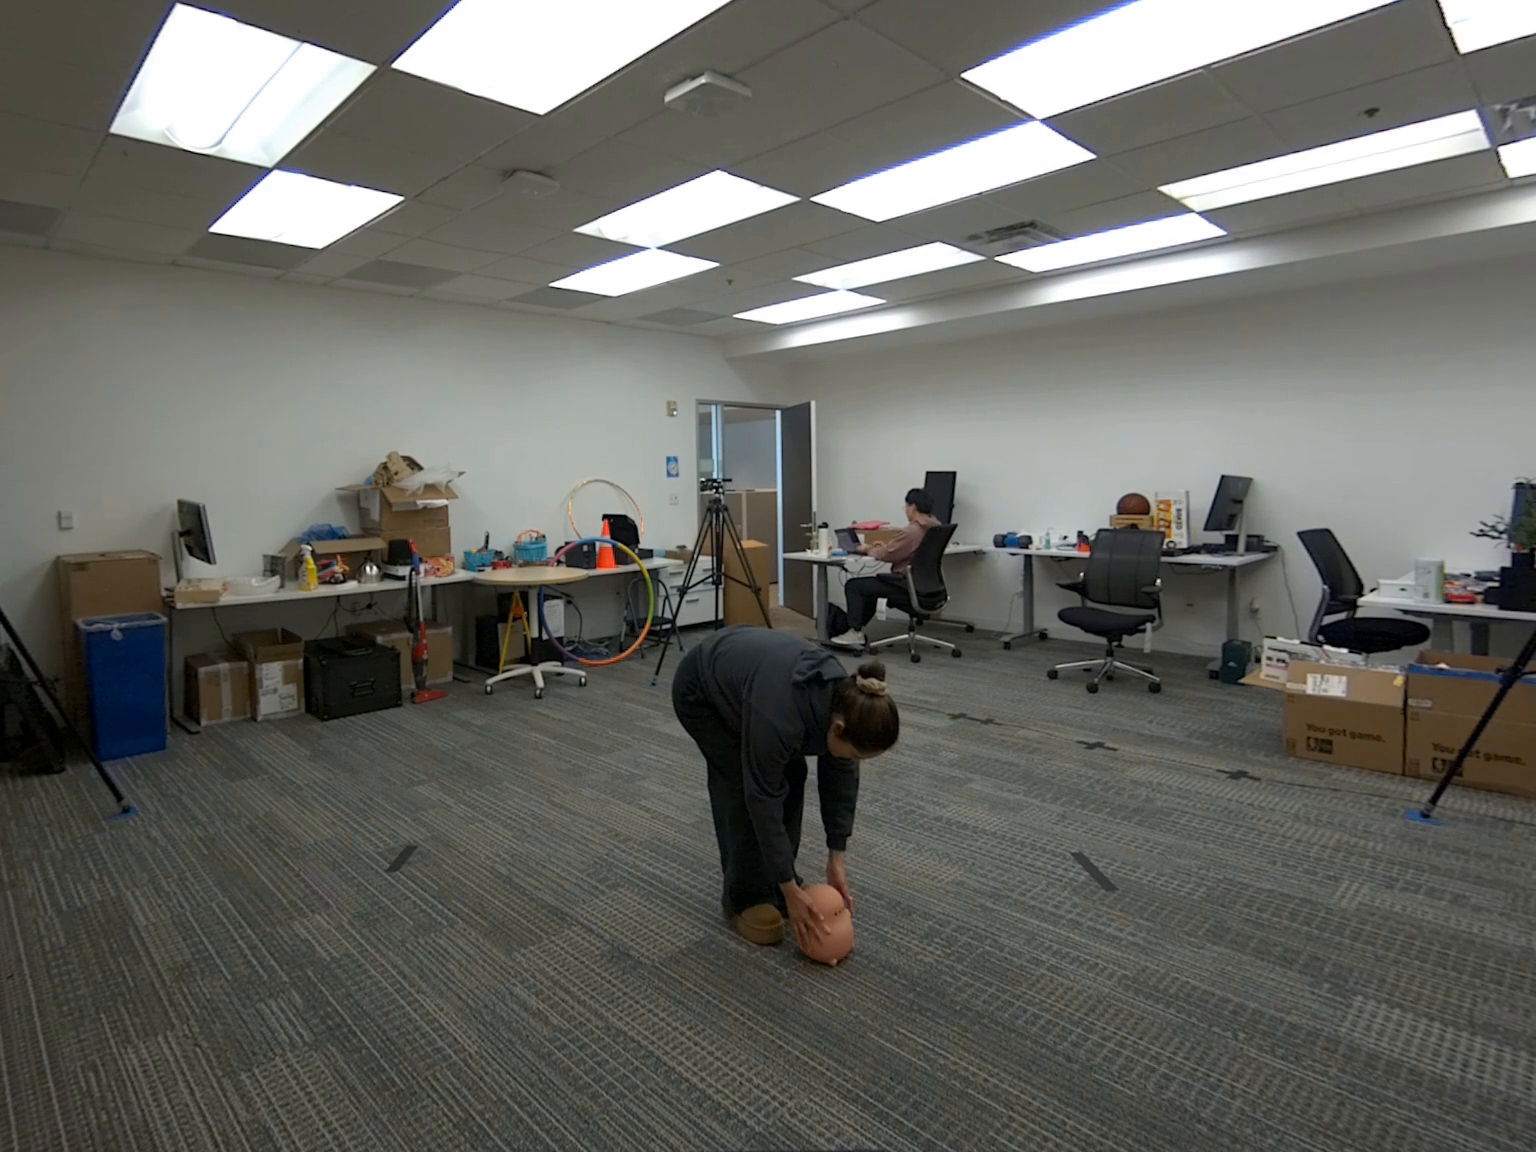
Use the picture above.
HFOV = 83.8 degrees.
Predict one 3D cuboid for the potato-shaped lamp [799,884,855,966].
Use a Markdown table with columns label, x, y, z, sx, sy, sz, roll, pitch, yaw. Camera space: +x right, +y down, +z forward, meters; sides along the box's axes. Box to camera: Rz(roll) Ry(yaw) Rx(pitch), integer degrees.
| label | x | y | z | sx | sy | sz | roll | pitch | yaw |
| --- | --- | --- | --- | --- | --- | --- | --- | --- | --- |
| potato-shaped lamp | 0.164 | 1.001 | 2.500 | 0.176 | 0.197 | 0.161 | 2 | 7 | 39 |
